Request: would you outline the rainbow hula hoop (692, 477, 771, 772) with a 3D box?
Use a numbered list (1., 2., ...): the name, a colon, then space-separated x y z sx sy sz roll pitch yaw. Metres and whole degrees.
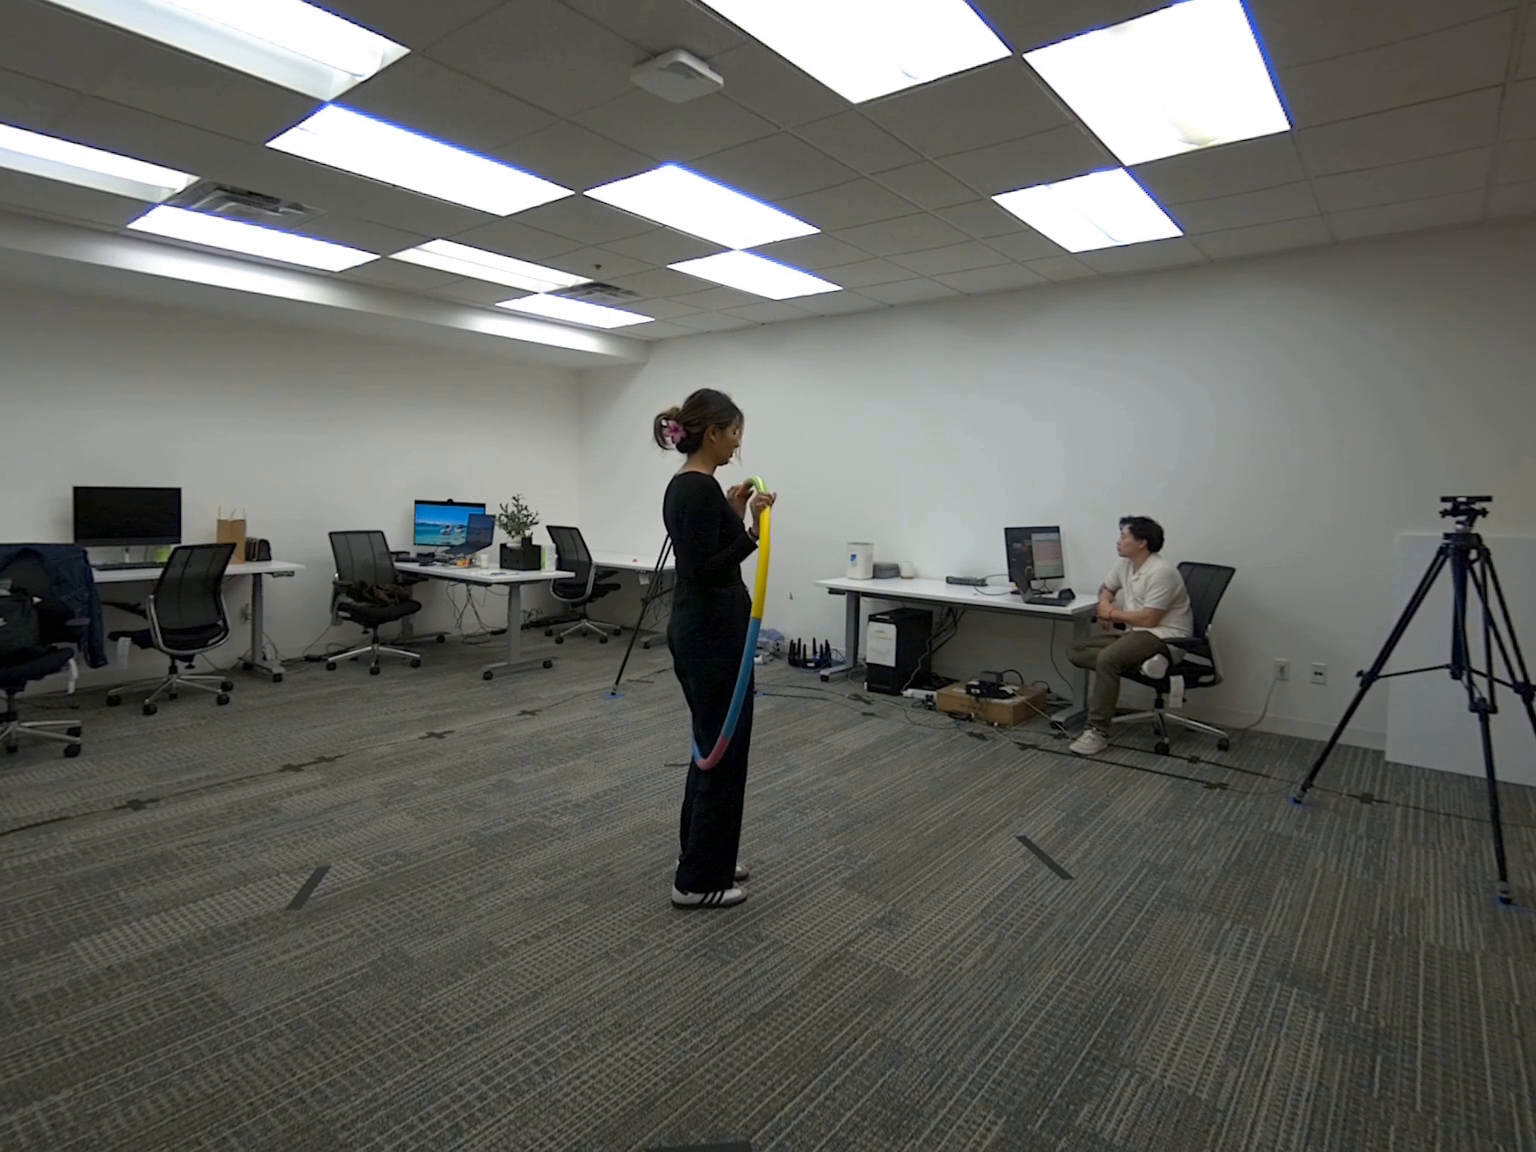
1. rainbow hula hoop: -0.155 0.149 2.892 0.035 0.977 0.992 12 2 -12
